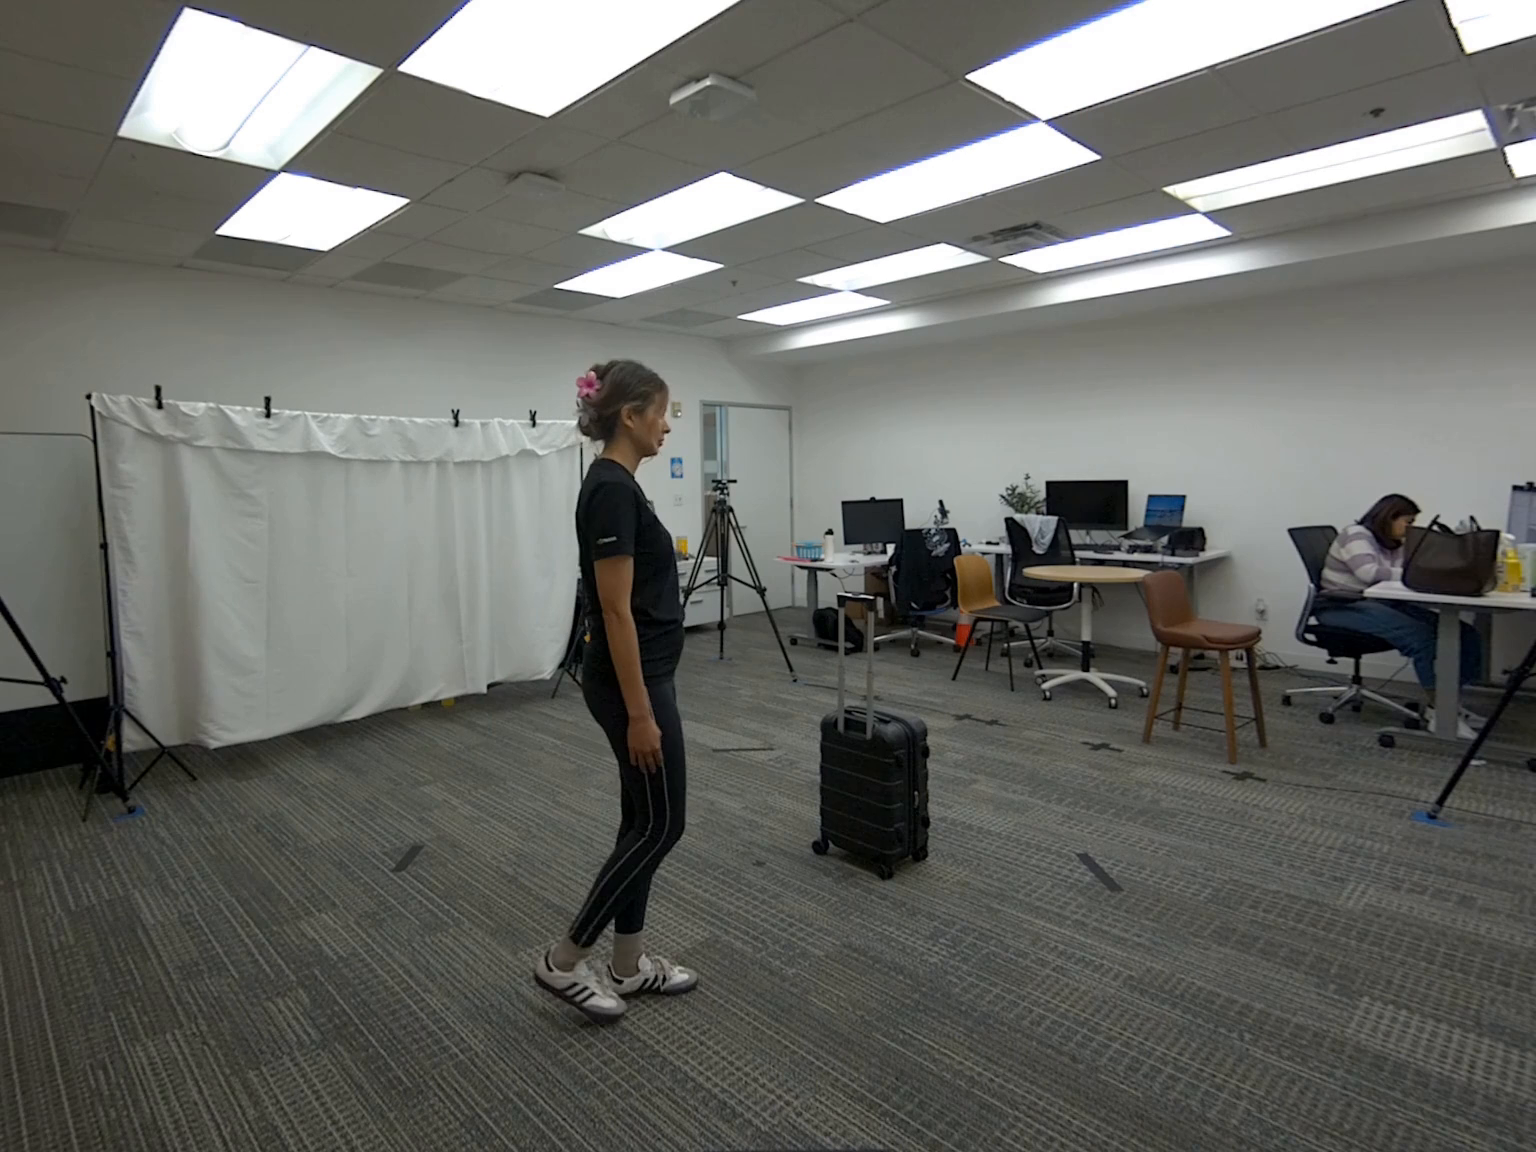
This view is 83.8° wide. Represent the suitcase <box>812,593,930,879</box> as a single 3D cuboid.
[{"bbox_3d":[0.394,0.563,3.120,0.250,0.976,0.396,-1,5,-43],"label":"suitcase"}]
